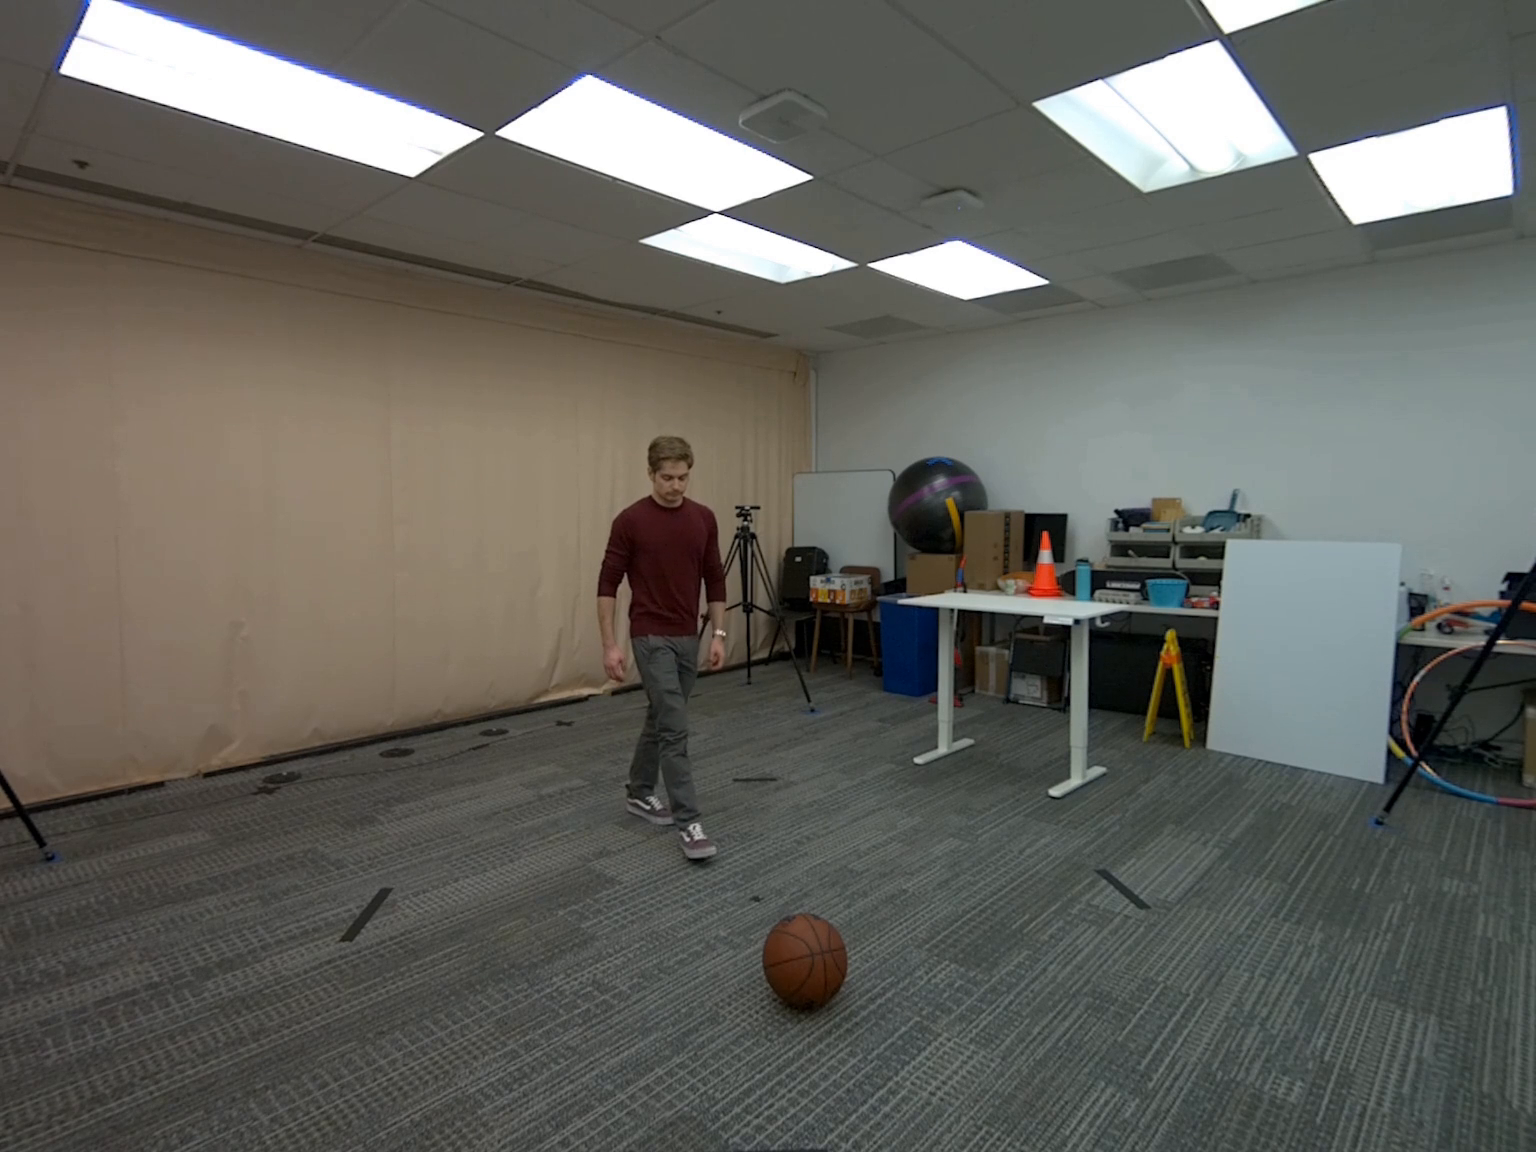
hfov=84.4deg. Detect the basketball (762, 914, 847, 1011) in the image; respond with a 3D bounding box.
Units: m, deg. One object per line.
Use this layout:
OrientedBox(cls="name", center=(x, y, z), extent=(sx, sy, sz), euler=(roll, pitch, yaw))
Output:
OrientedBox(cls="basketball", center=(0.104, 1.078, 2.359), extent=(0.236, 0.235, 0.237), euler=(0, 4, -2))
